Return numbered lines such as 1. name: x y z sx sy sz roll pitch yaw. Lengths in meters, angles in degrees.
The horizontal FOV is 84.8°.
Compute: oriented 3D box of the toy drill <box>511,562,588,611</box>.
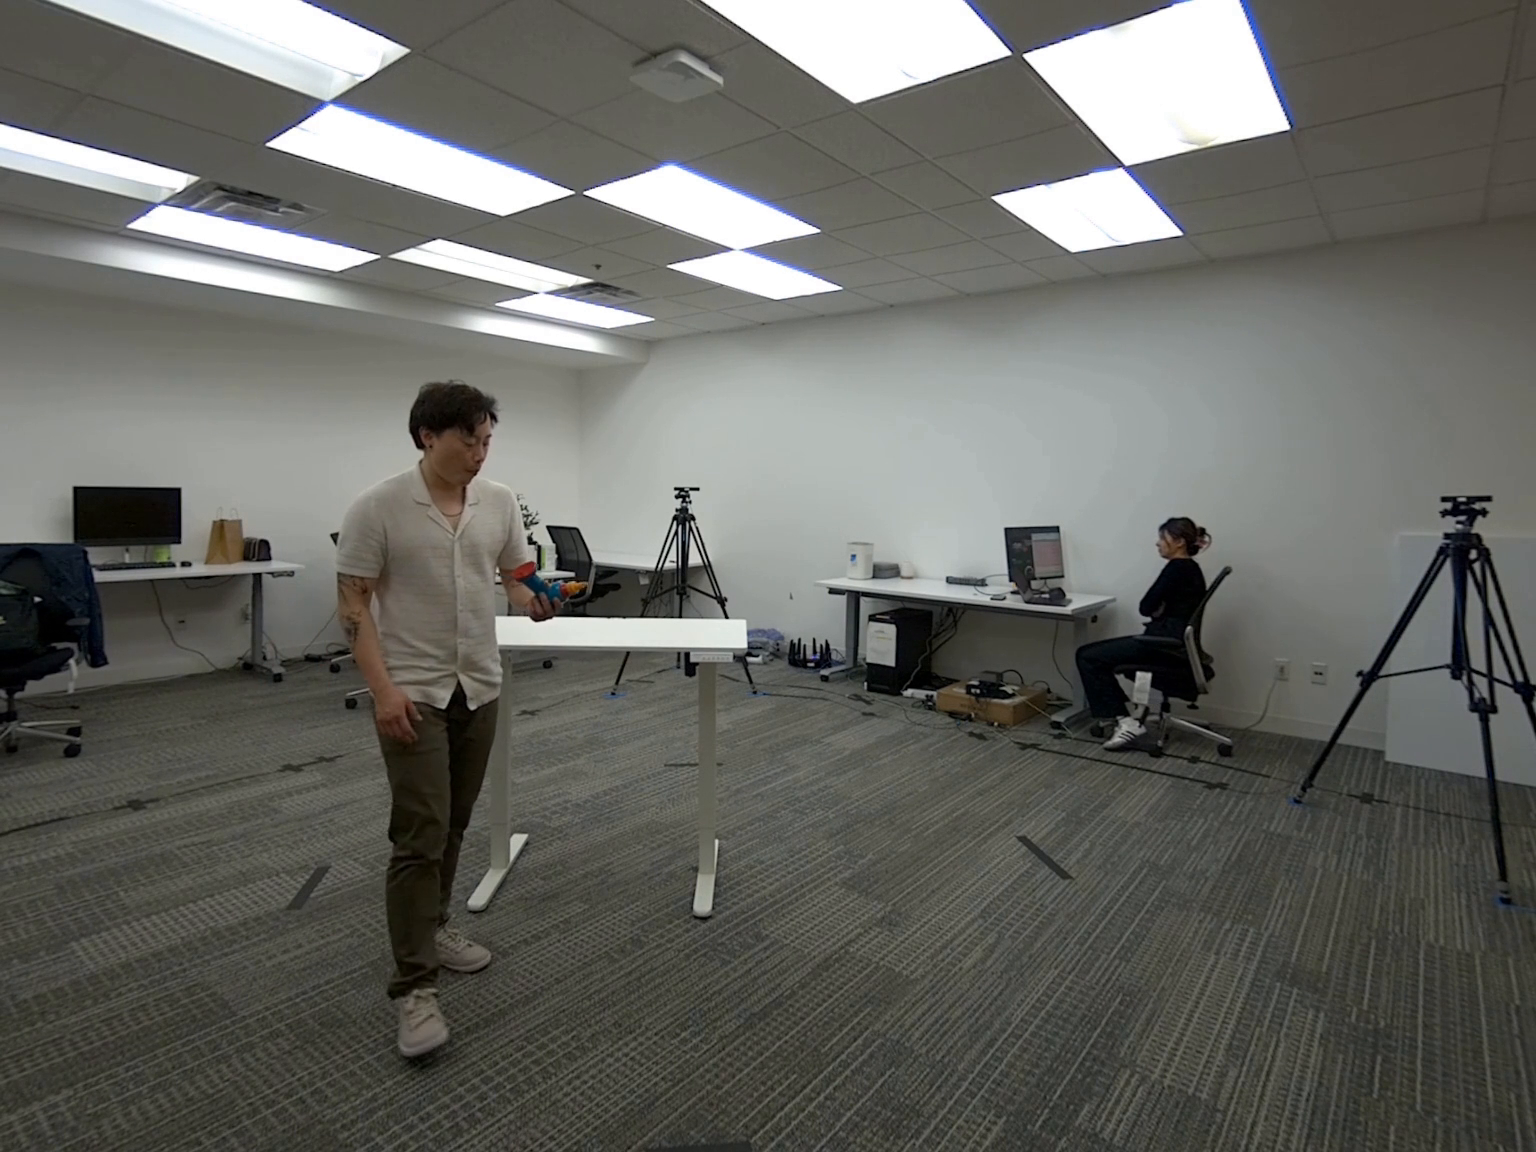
1. toy drill: -0.590 0.018 2.212 0.172 0.063 0.140 -16 -47 22
